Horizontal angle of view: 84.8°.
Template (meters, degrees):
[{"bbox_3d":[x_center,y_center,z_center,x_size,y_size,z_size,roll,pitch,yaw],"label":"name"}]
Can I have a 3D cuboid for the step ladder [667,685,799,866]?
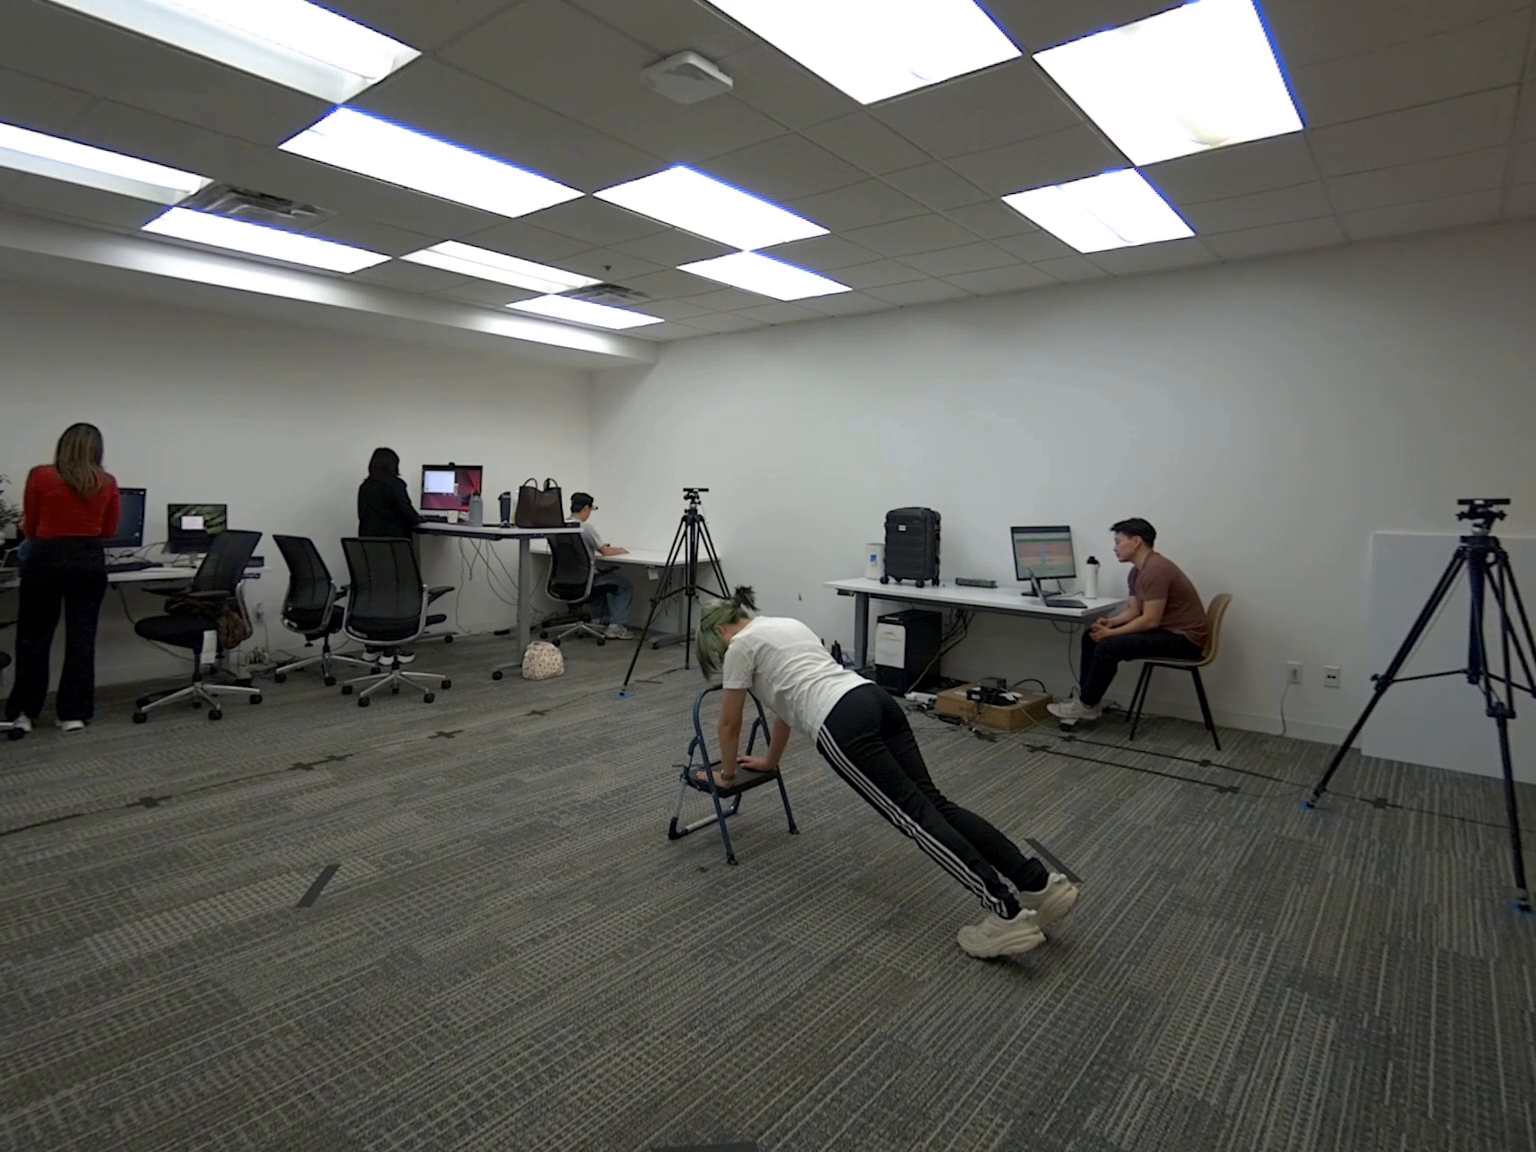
[{"bbox_3d":[-0.143,0.741,3.403,0.361,0.604,0.418,4,4,38],"label":"step ladder"}]
